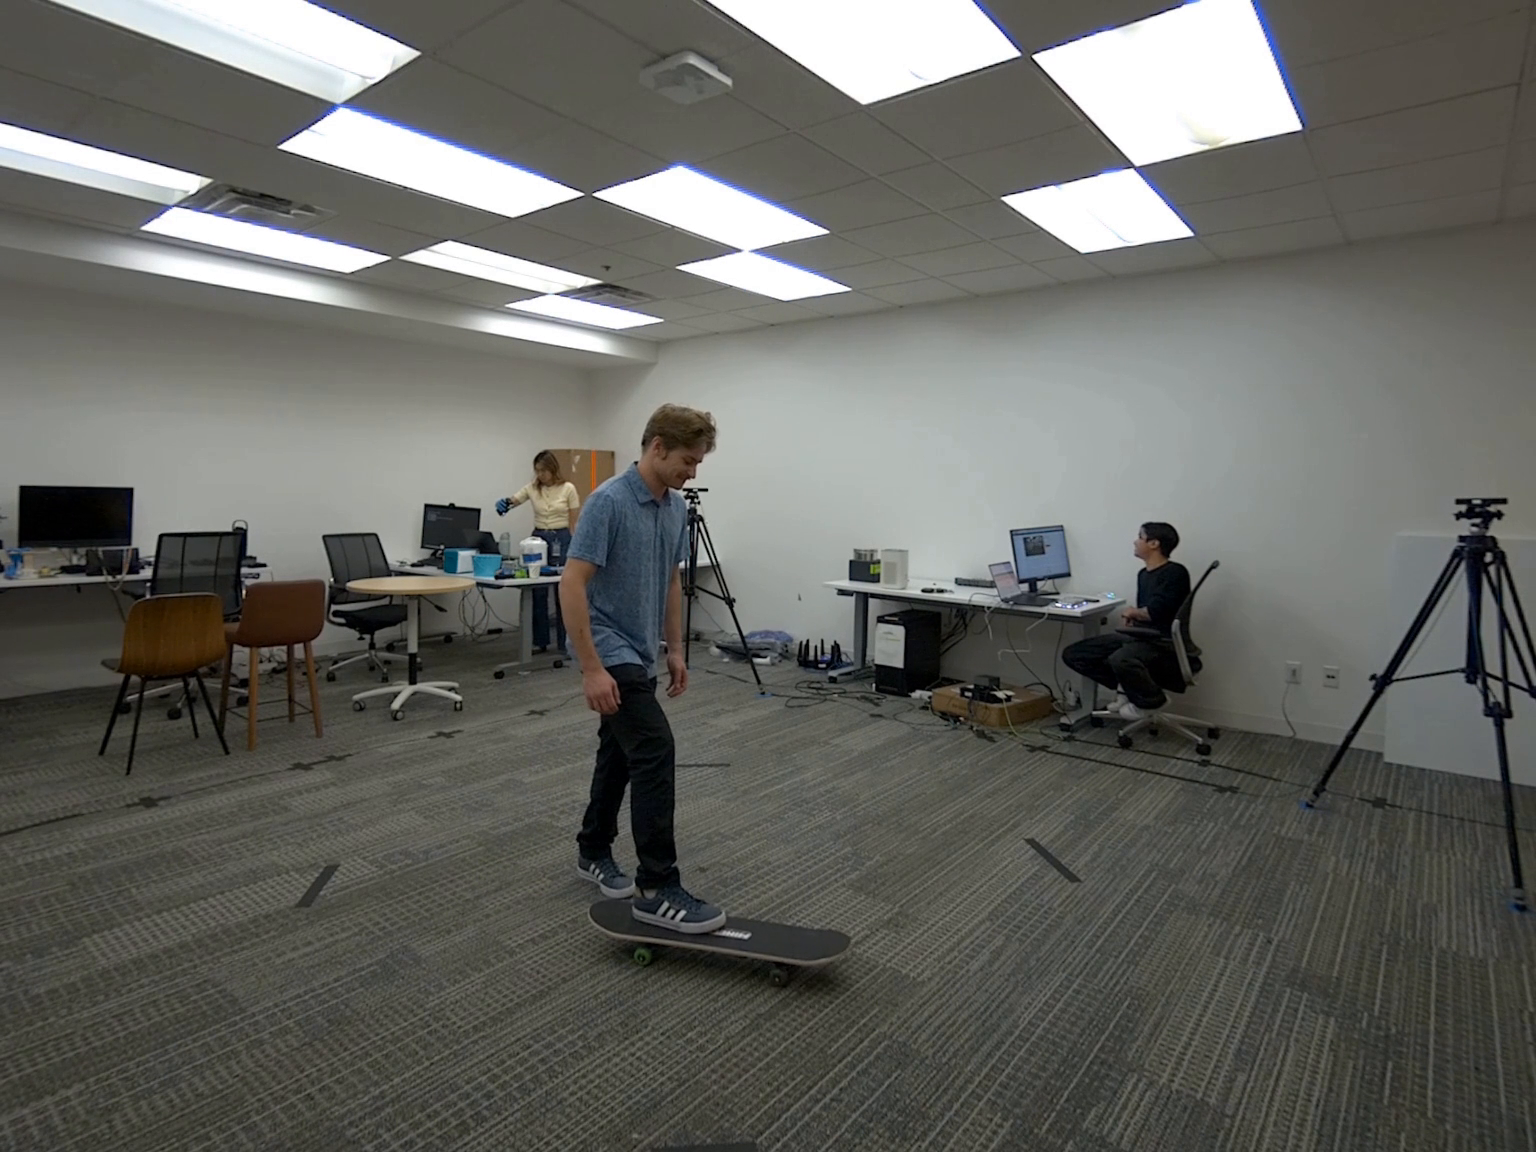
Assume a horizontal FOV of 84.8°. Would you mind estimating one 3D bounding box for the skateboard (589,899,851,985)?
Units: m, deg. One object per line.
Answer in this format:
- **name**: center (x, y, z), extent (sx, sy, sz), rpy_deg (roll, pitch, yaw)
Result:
- **skateboard**: center (-0.160, 1.071, 2.506), extent (0.796, 0.110, 0.191), rpy_deg (2, 5, 12)
